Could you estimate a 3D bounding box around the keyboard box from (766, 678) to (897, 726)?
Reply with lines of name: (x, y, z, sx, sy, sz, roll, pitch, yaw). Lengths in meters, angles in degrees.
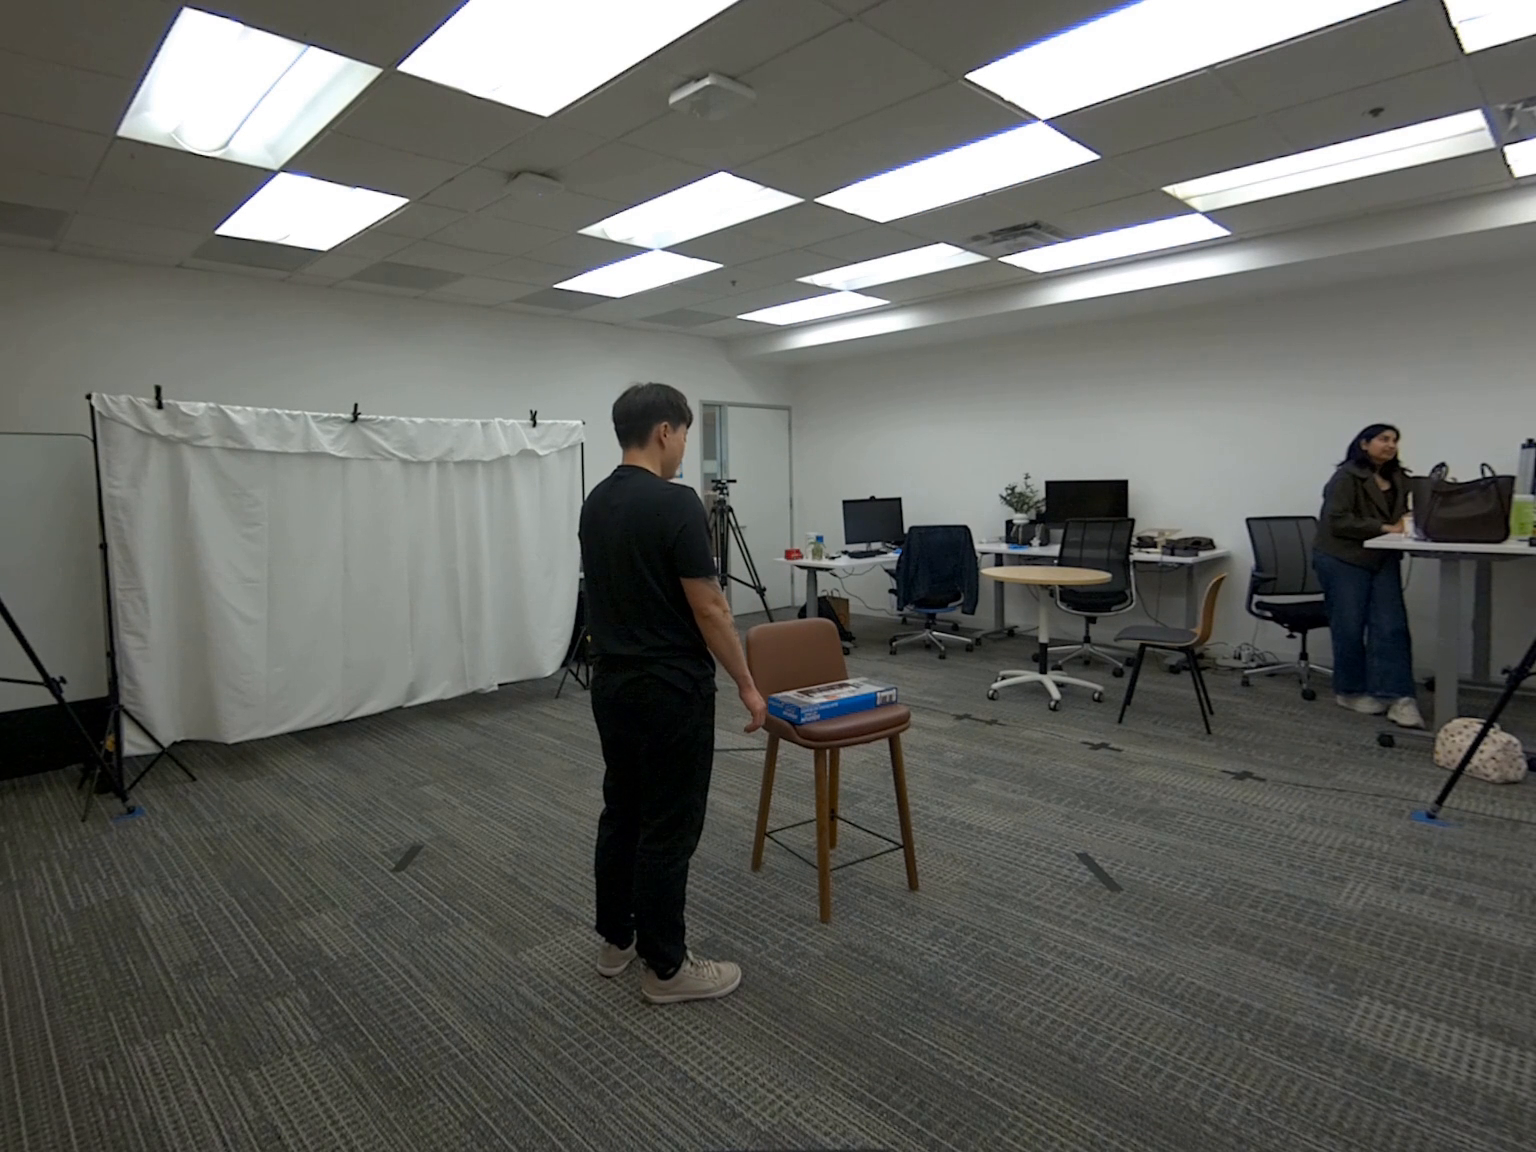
keyboard box: (0.229, 0.423, 2.904, 0.426, 0.059, 0.181, -5, 8, -34)
